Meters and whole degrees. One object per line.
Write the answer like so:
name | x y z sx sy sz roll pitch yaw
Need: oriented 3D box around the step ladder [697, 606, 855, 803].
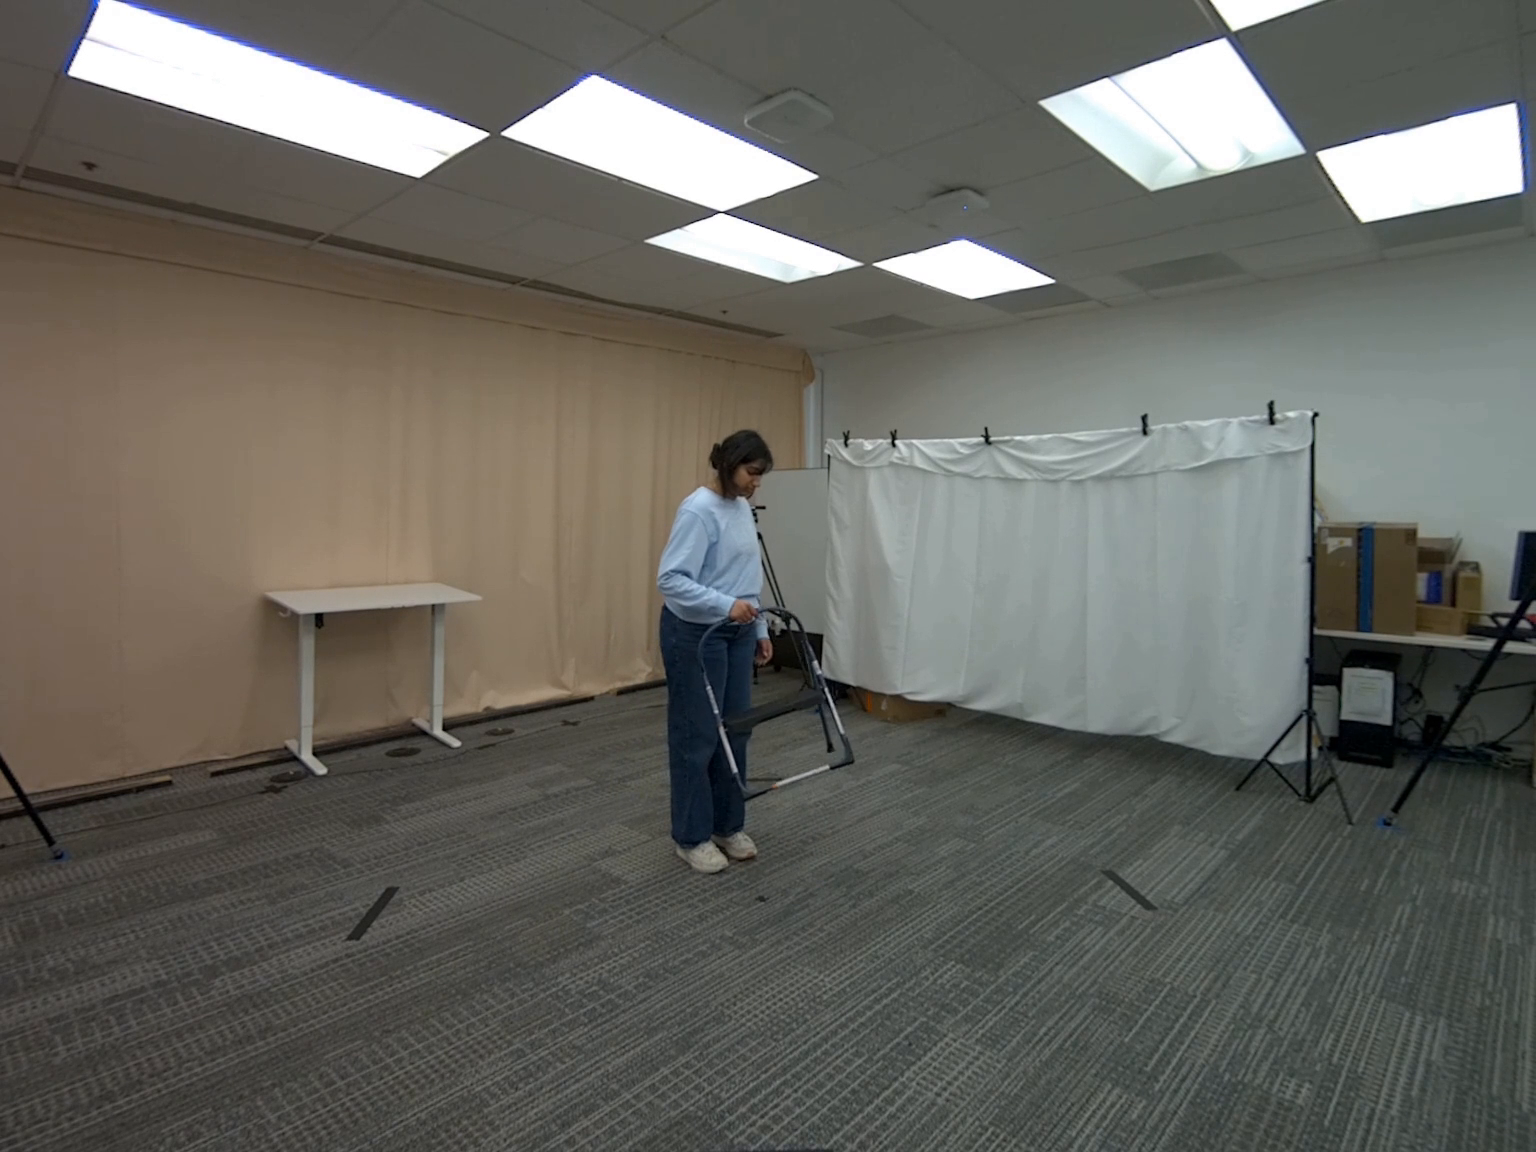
step ladder | -0.006 0.430 3.051 0.427 0.608 0.351 -17 -4 -9
